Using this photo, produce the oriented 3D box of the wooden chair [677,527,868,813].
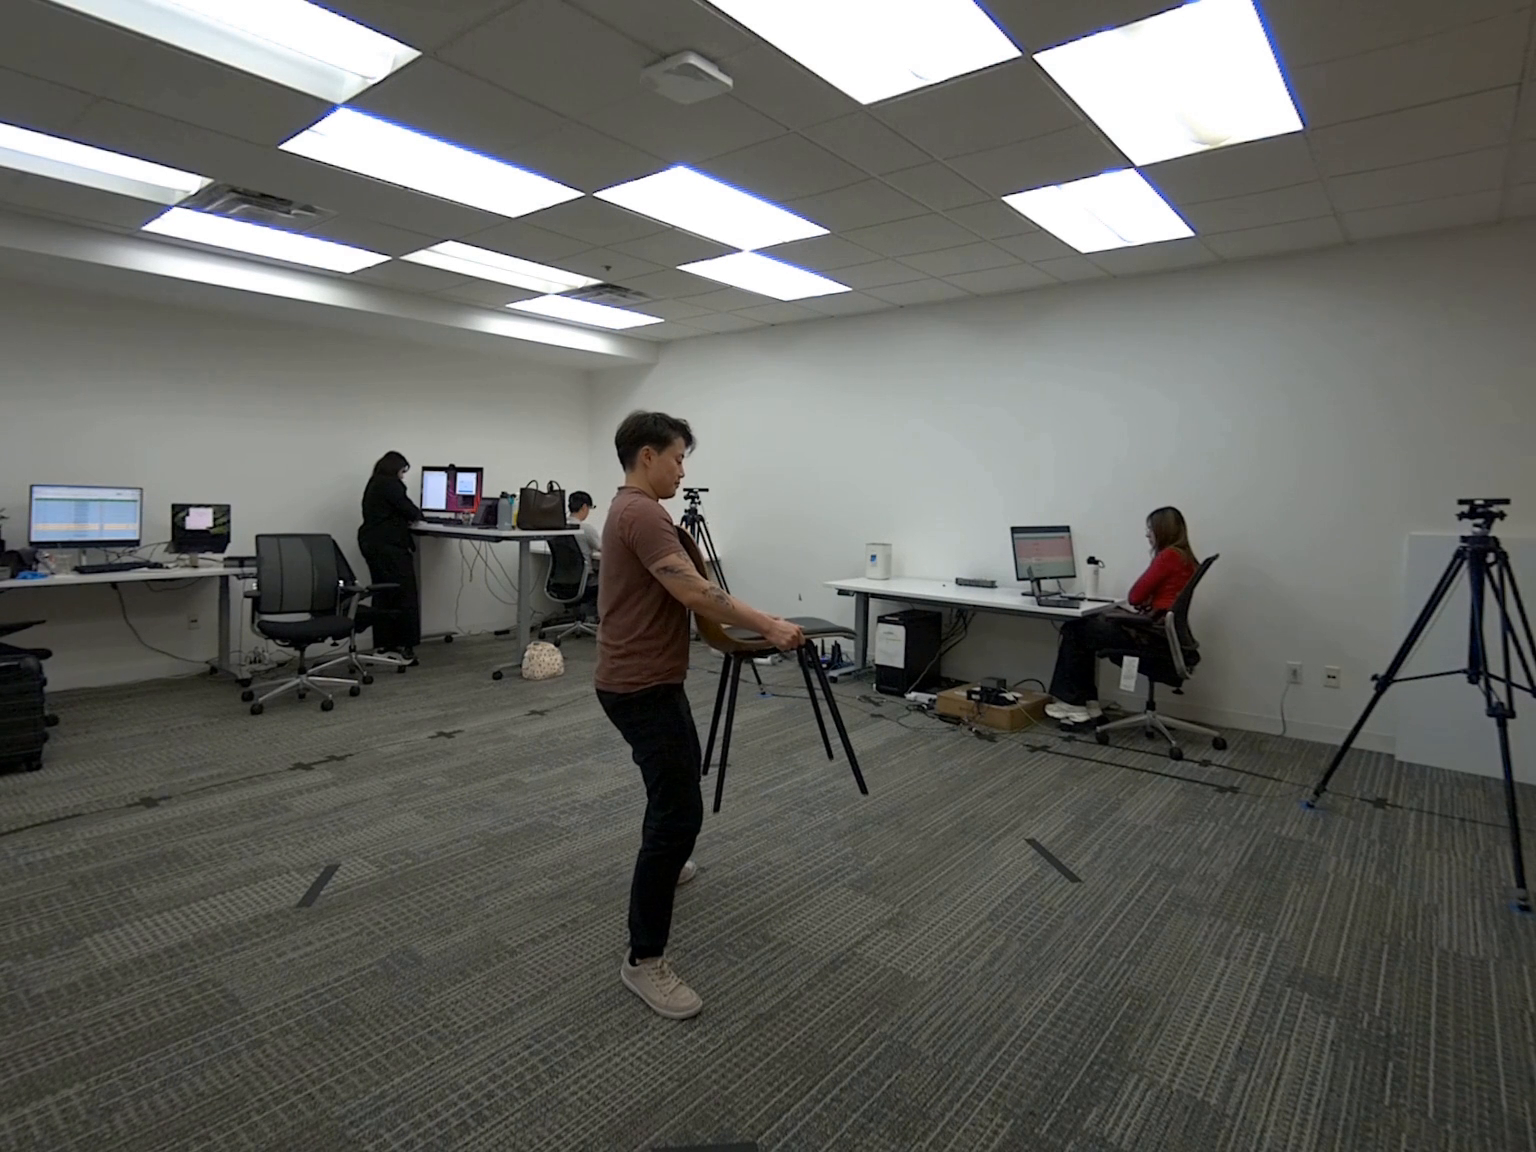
[{"bbox_3d":[-0.004,0.236,2.689,0.520,0.879,0.480,-9,-1,-7],"label":"wooden chair"}]
